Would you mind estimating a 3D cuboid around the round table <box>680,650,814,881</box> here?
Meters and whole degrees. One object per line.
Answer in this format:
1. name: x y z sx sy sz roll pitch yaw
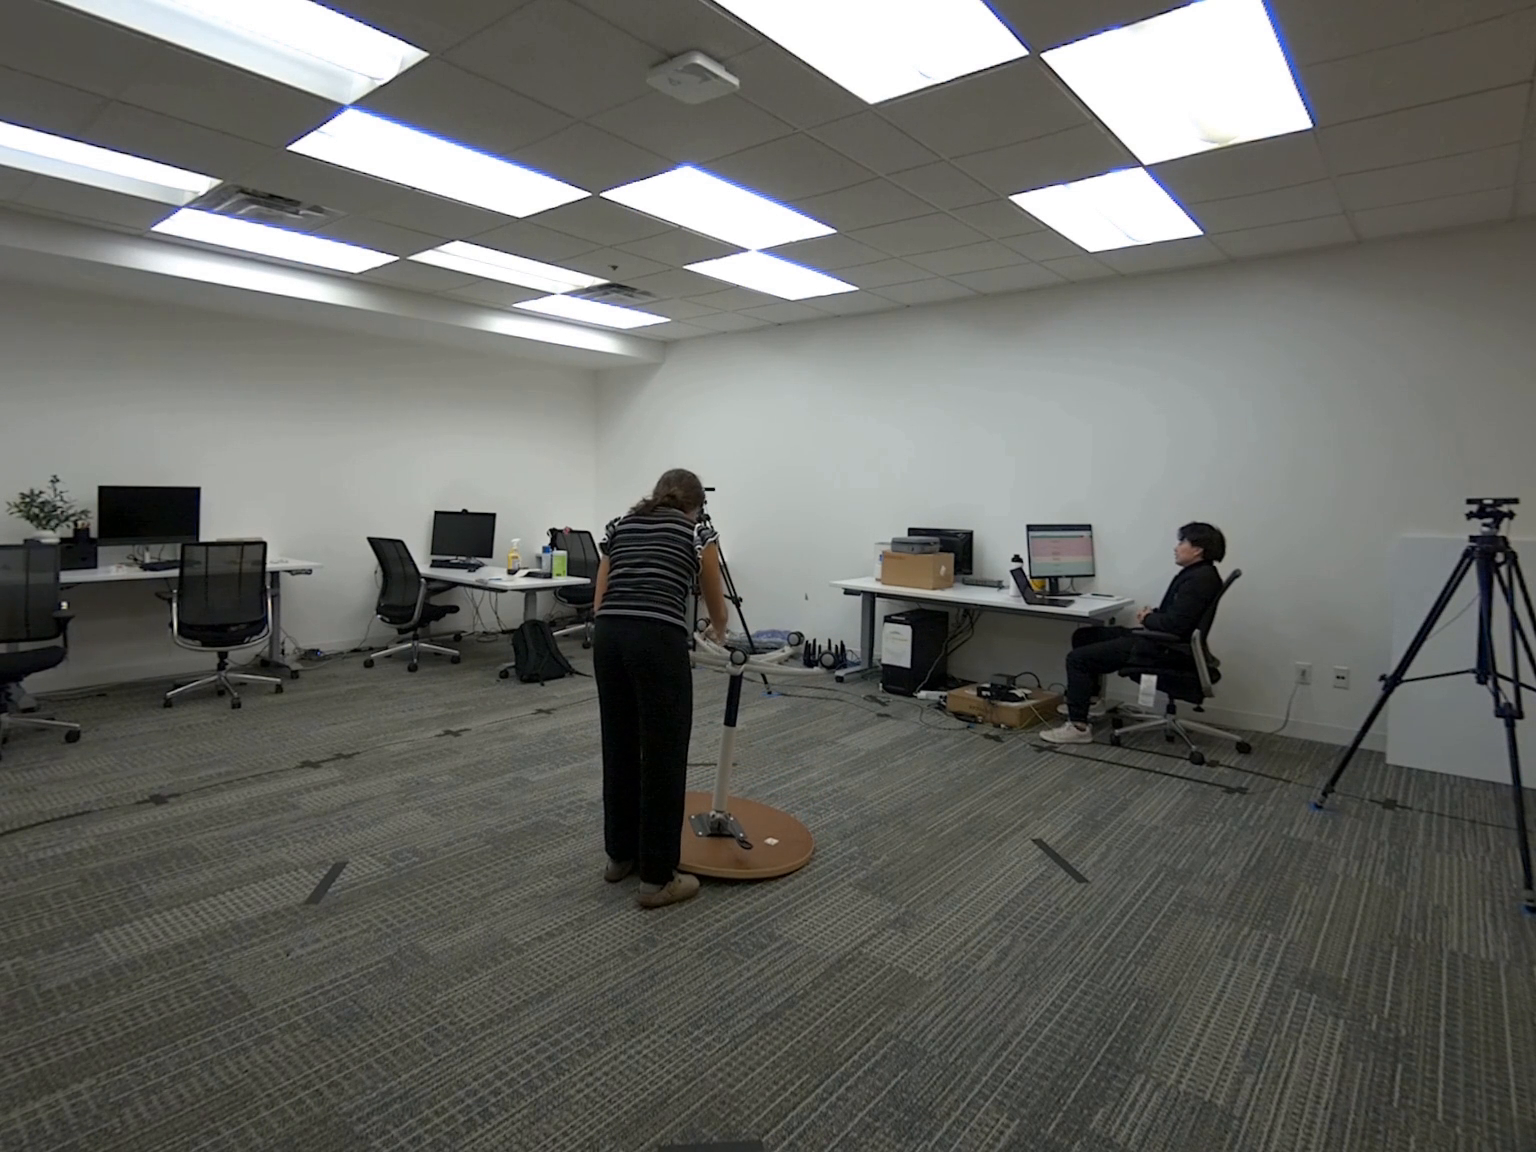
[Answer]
1. round table: -0.166 0.618 3.329 0.763 0.792 0.767 7 3 -2
